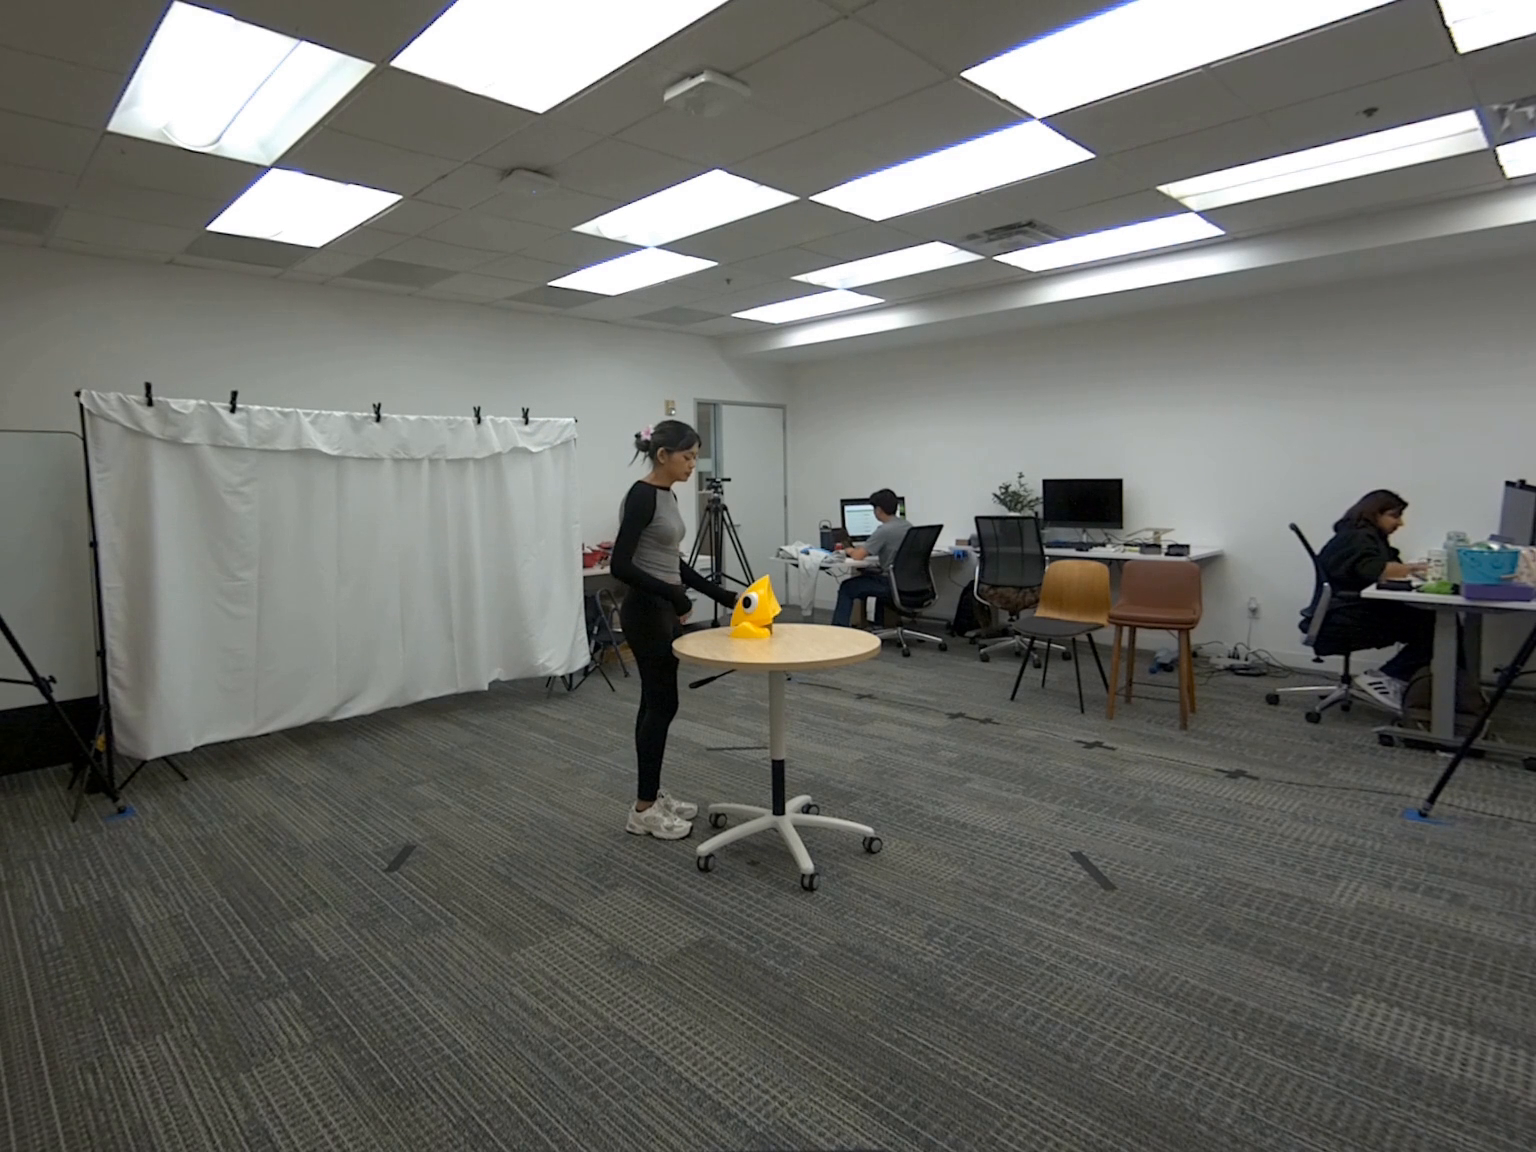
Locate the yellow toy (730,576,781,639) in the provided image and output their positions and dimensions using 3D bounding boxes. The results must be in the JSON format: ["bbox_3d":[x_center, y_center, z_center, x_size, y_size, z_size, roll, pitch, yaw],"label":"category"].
[{"bbox_3d":[-0.058,0.109,3.313,0.196,0.230,0.203,1,5,13],"label":"yellow toy"}]
